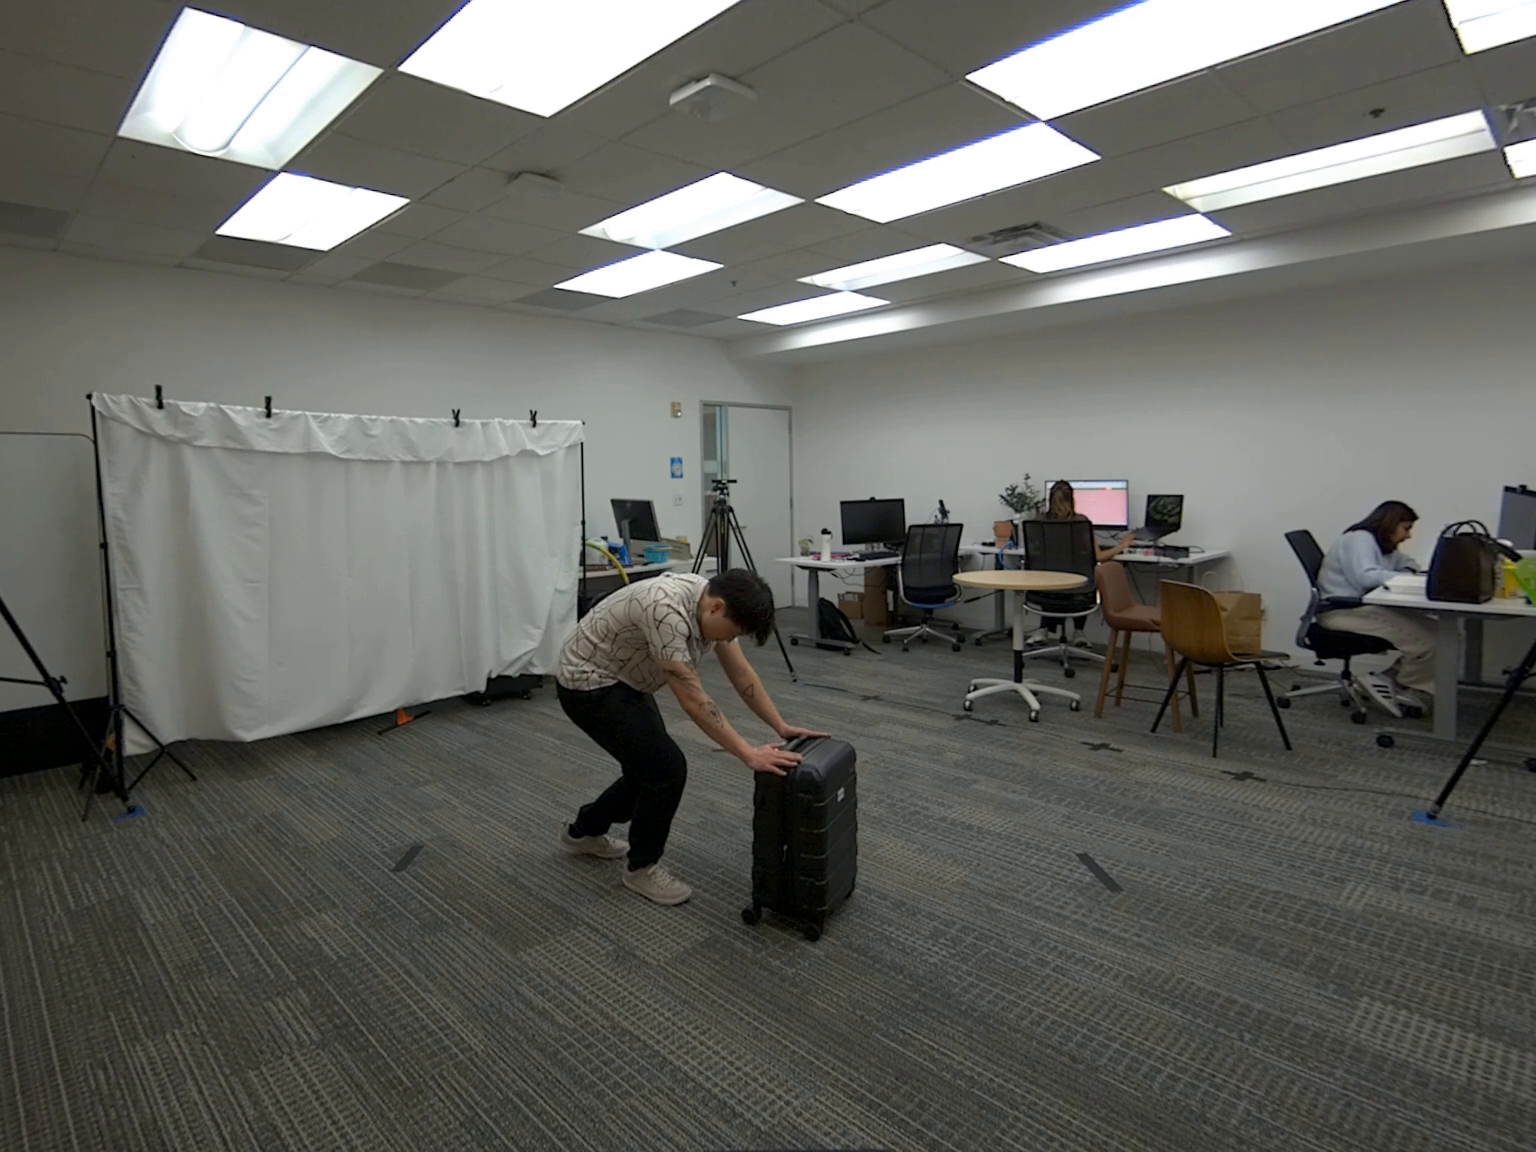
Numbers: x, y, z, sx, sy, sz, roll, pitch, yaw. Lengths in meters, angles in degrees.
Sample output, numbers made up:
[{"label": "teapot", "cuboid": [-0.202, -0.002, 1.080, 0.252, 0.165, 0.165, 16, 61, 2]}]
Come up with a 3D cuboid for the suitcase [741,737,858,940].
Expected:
[{"label": "suitcase", "cuboid": [0.124, 0.808, 2.750, 0.255, 0.547, 0.368, 4, 6, 27]}]
